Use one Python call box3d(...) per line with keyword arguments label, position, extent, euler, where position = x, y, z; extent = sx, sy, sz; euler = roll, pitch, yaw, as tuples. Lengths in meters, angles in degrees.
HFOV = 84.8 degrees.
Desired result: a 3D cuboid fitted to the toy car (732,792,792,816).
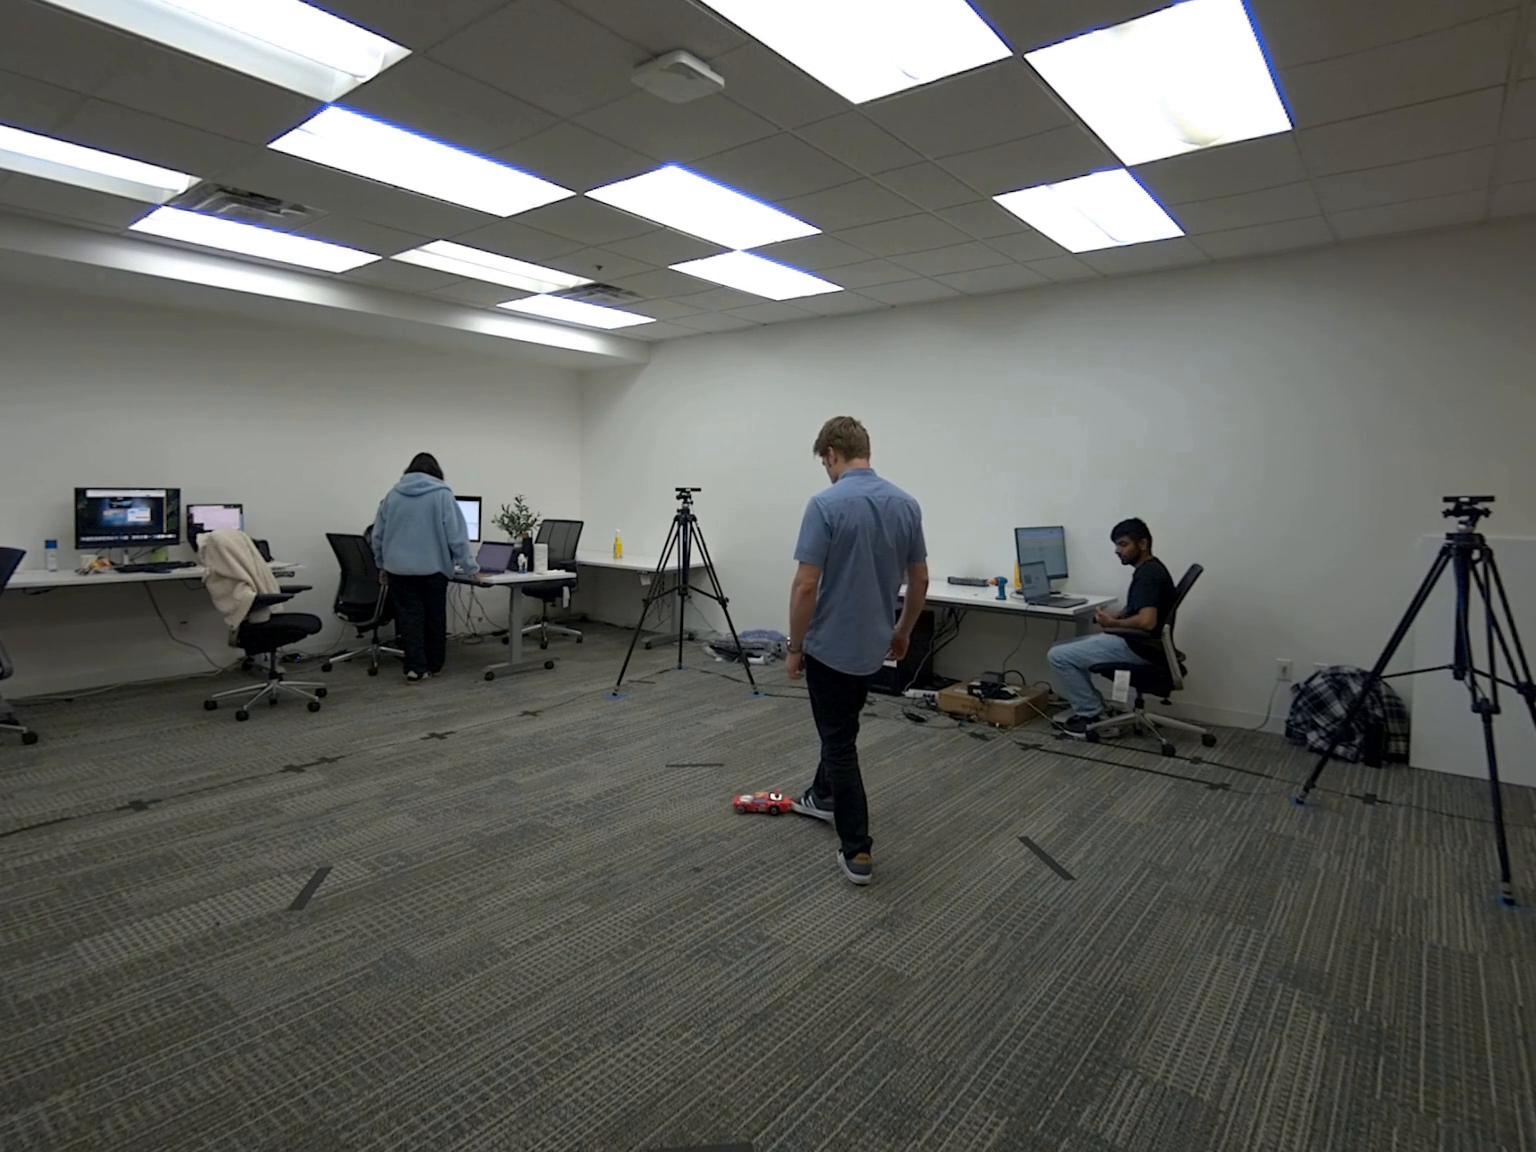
box3d(label="toy car", position=(-0.019, 0.985, 3.688), extent=(0.256, 0.083, 0.130), euler=(-9, 3, 5))
